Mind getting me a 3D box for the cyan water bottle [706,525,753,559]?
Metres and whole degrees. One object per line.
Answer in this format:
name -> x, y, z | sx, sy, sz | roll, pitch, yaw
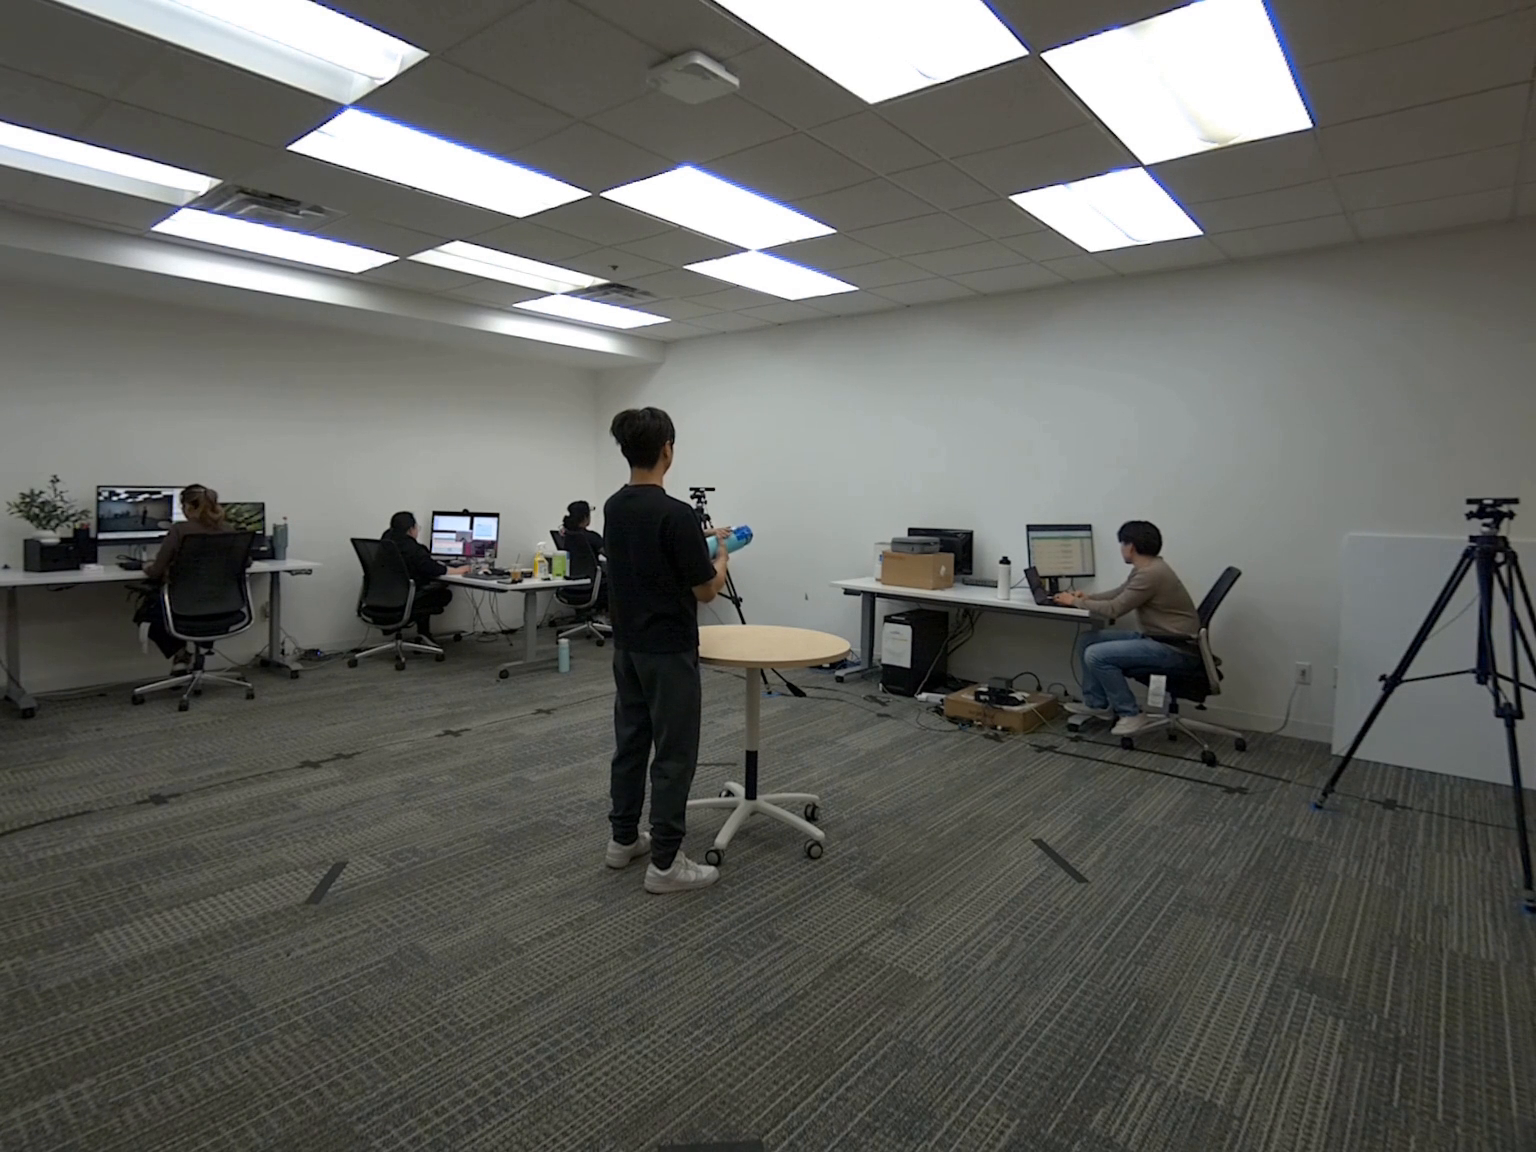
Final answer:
cyan water bottle -> -0.177, -0.123, 3.225 | 0.095, 0.091, 0.278 | 5, 22, 45
